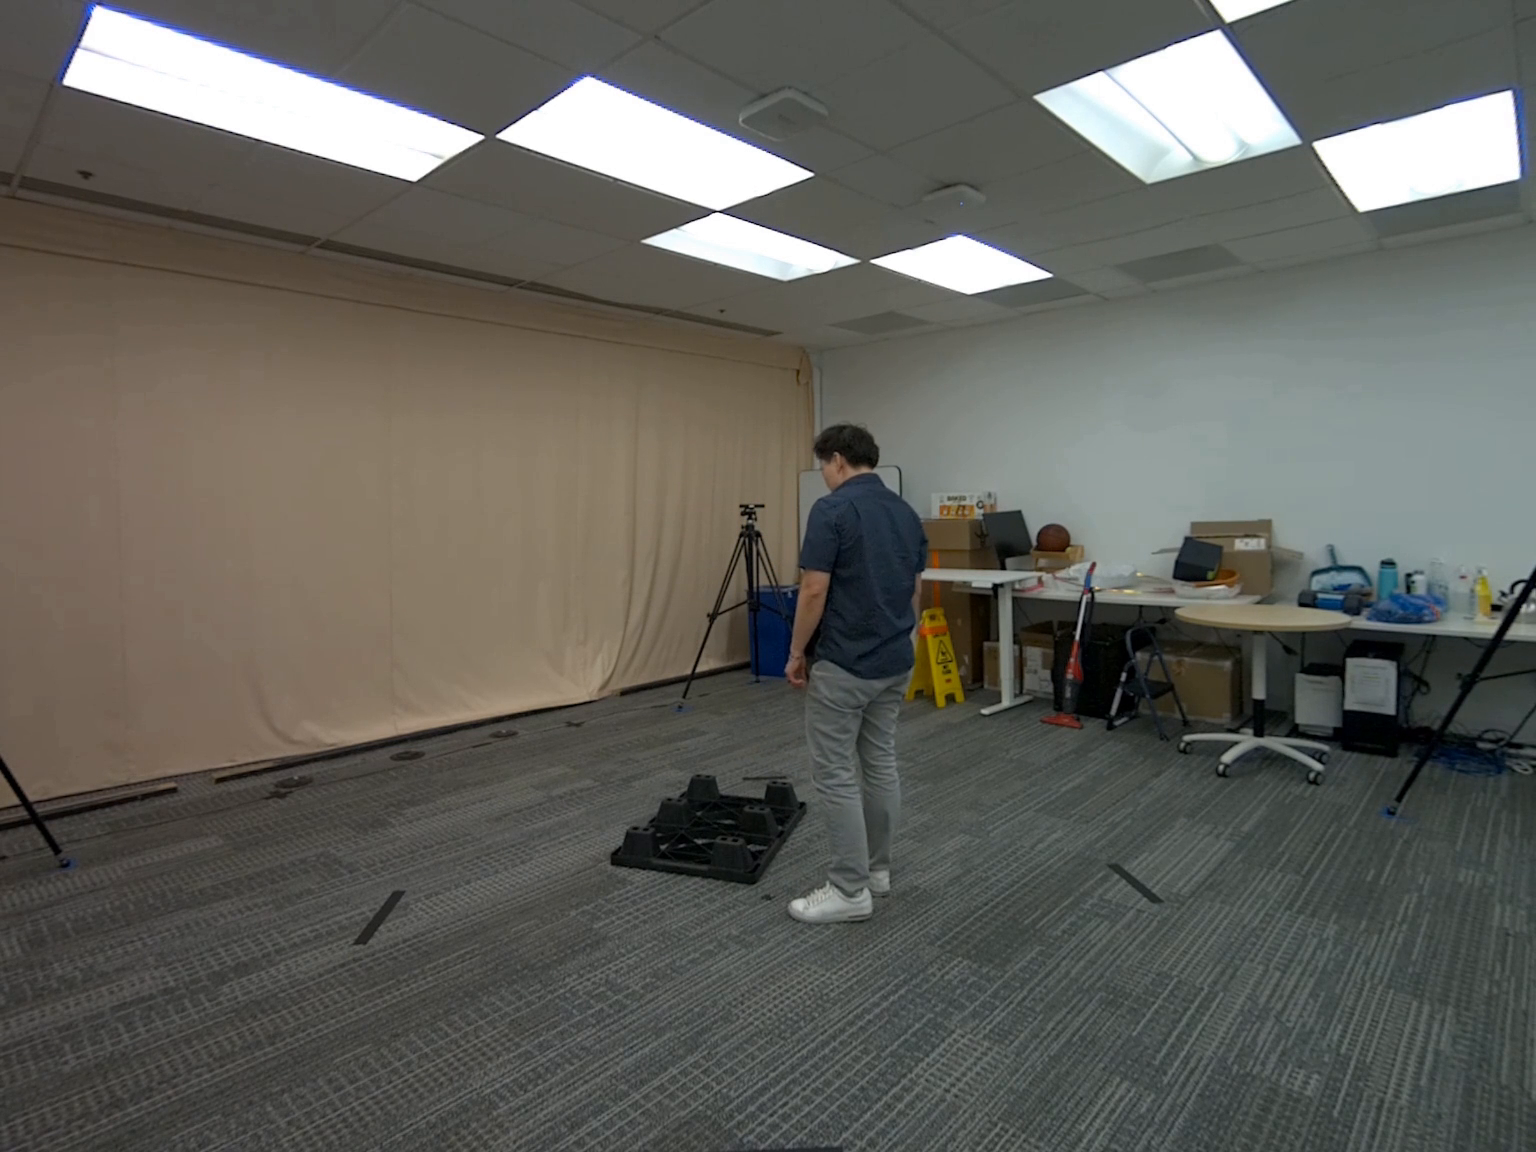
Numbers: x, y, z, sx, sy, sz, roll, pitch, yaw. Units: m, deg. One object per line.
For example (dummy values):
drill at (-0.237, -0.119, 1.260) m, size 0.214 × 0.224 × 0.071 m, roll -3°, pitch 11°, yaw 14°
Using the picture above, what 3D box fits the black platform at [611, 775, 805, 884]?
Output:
black platform at (-0.226, 1.030, 3.553) m, size 0.617 × 0.143 × 0.791 m, roll 1°, pitch 5°, yaw 18°
